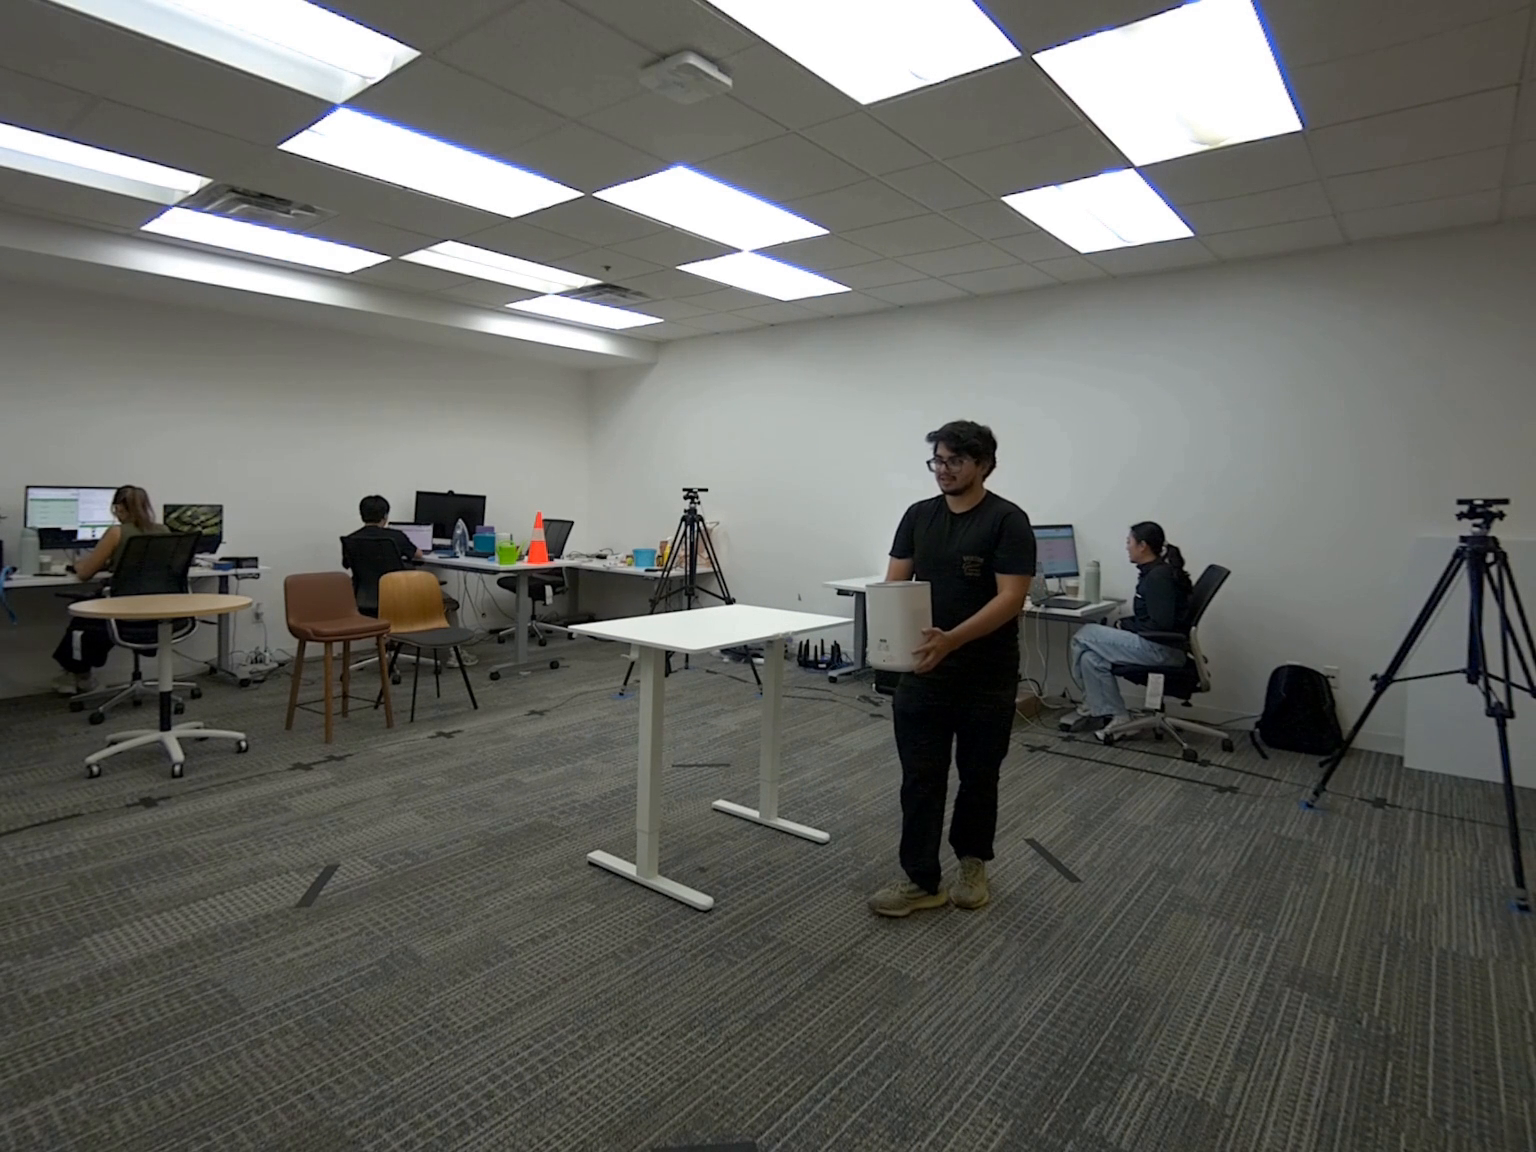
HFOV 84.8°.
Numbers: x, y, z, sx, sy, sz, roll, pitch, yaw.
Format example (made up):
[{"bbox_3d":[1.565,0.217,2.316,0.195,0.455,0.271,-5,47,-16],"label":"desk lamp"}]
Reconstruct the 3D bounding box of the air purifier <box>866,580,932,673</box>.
[{"bbox_3d":[0.409,0.151,2.653,0.176,0.265,0.166,-2,1,44],"label":"air purifier"}]
